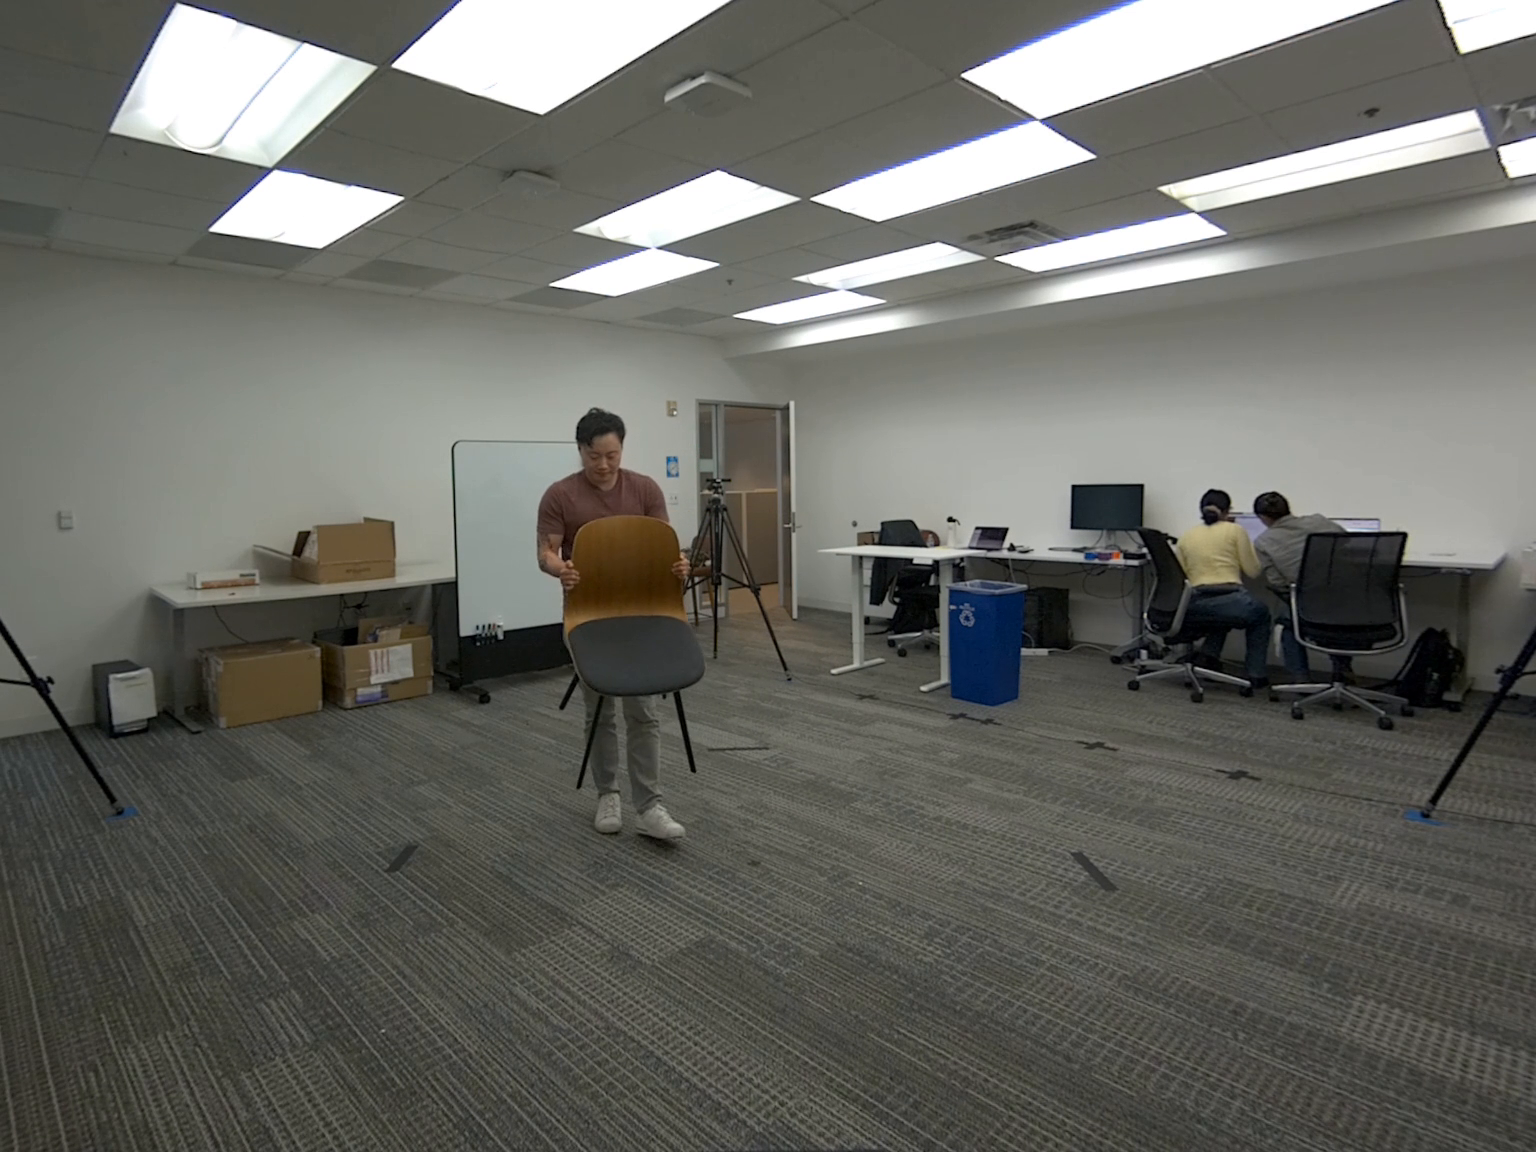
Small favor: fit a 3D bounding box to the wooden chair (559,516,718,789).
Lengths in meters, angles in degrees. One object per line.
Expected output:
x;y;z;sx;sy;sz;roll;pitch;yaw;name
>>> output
-0.482;0.283;3.133;0.470;0.862;0.542;-2;26;-21;wooden chair
